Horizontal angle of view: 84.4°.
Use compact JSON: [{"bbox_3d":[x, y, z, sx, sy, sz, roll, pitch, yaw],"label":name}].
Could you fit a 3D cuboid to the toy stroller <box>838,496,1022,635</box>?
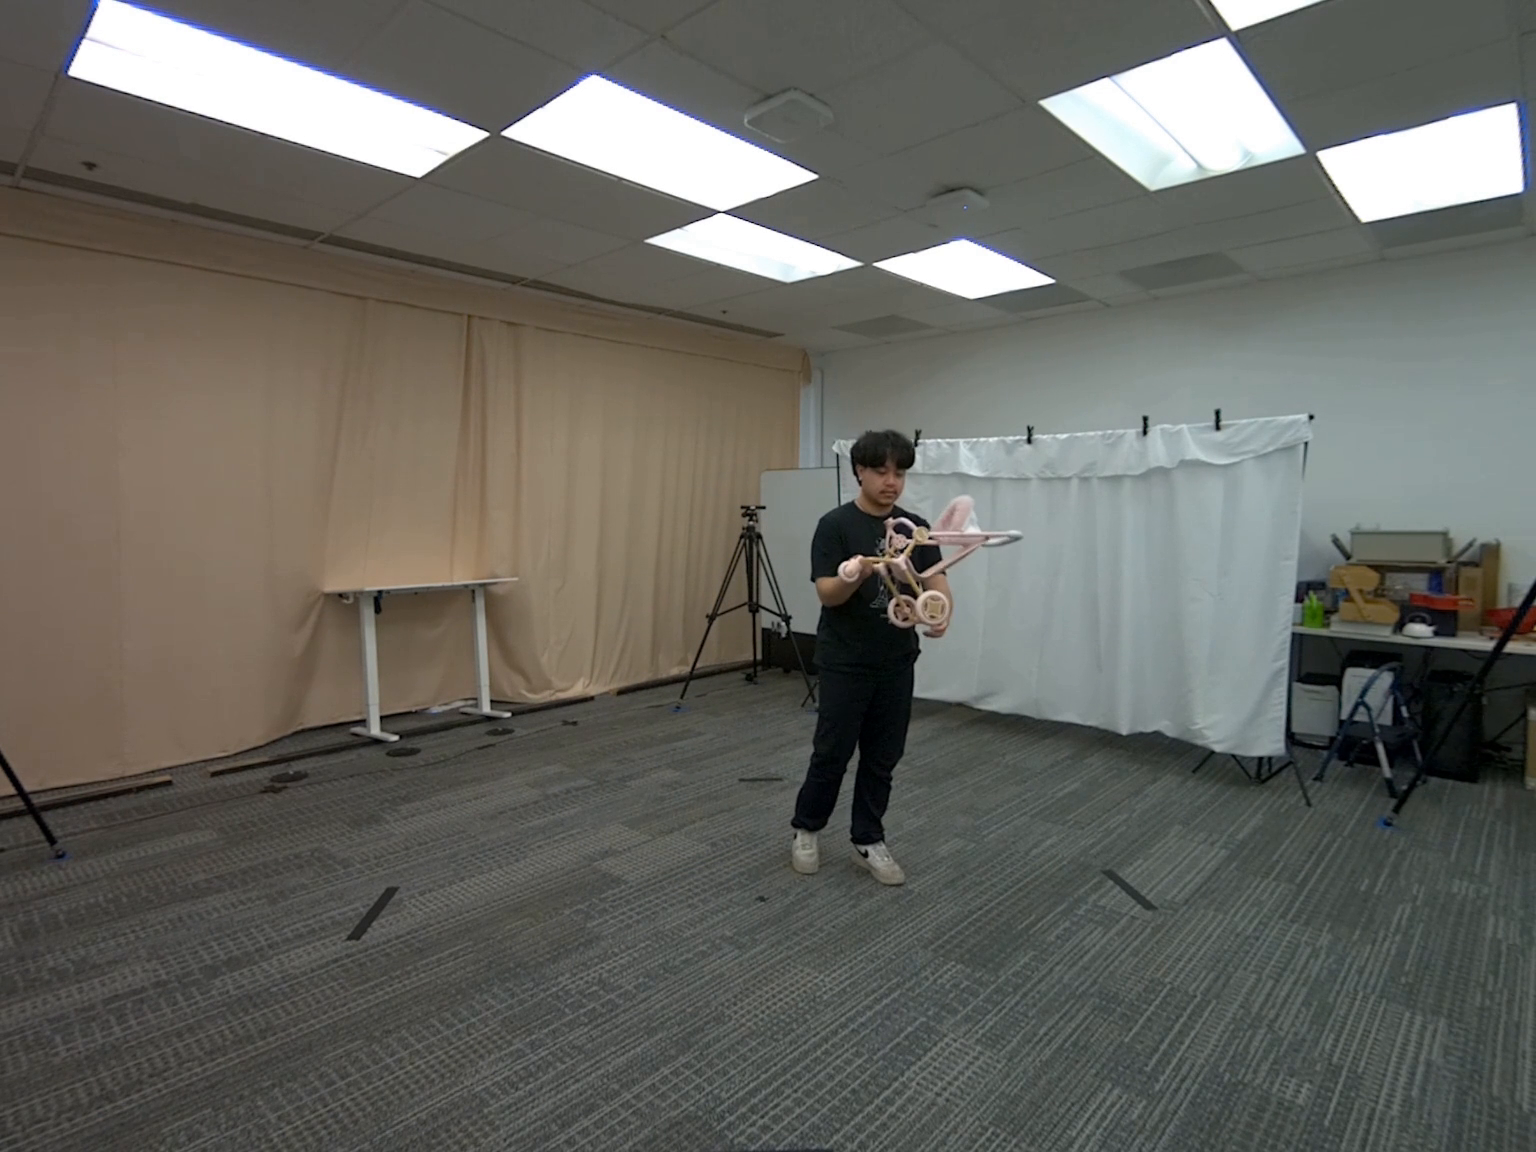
[{"bbox_3d":[0.505,-0.062,2.748,0.533,0.342,0.282,-43,-2,-10],"label":"toy stroller"}]
